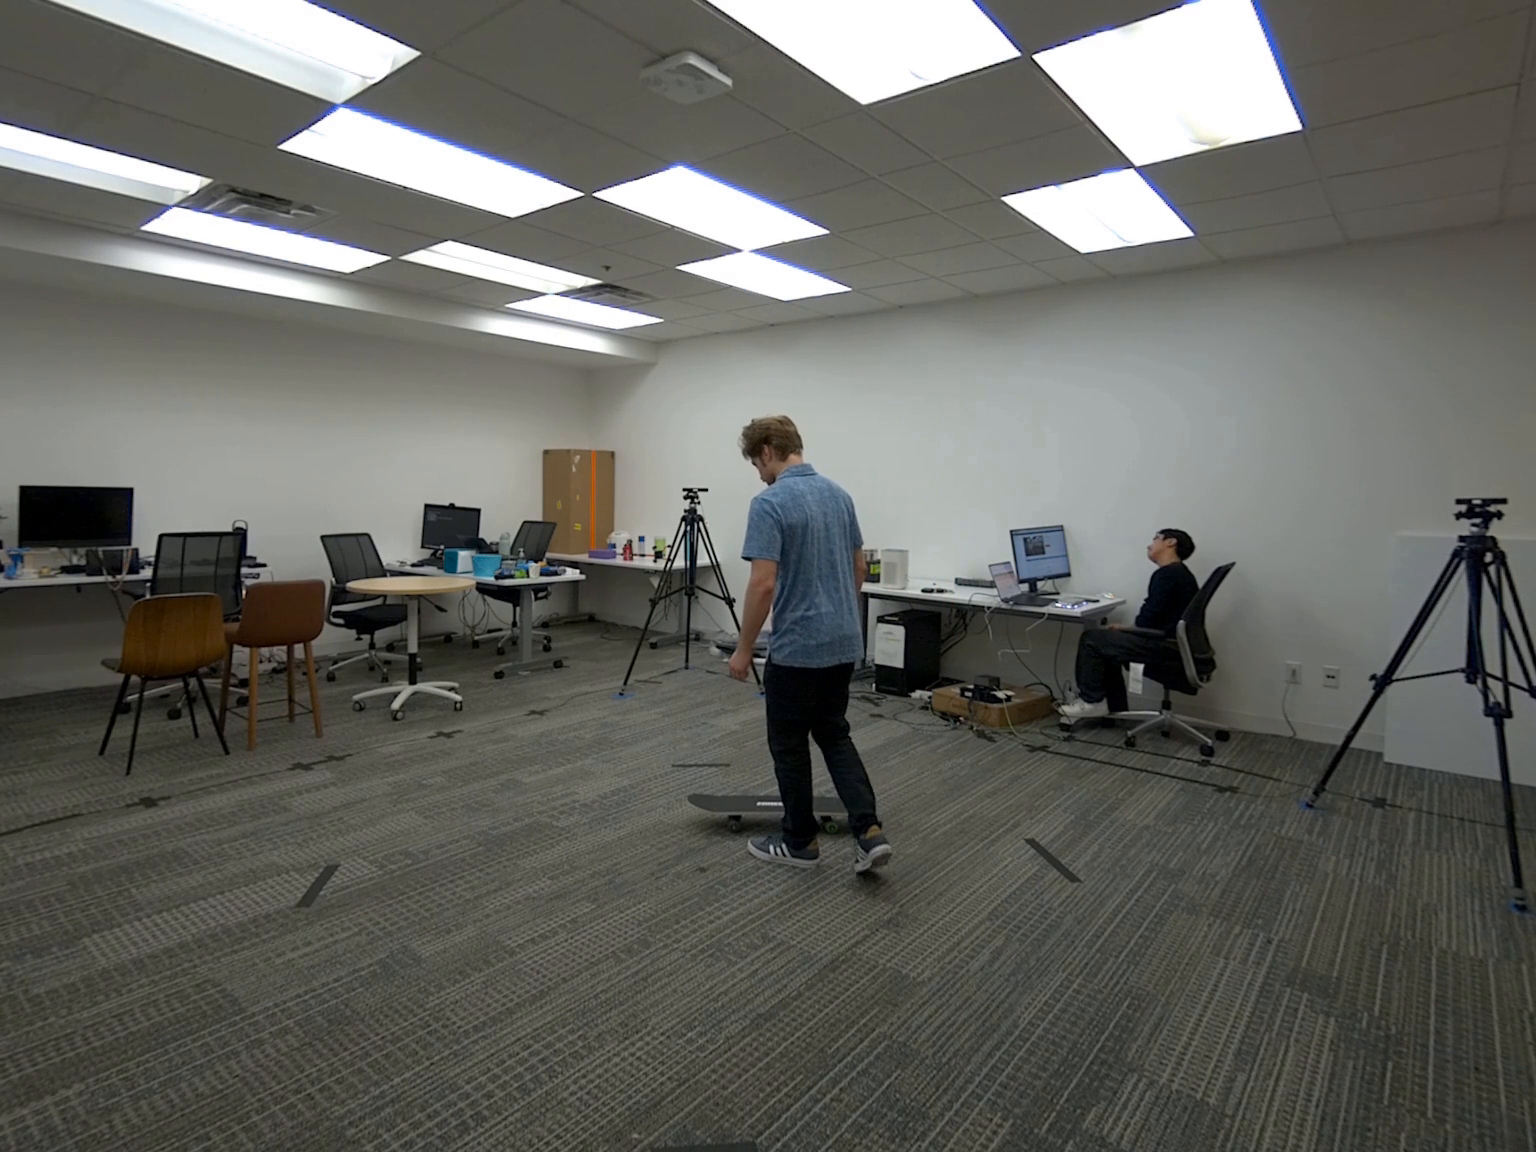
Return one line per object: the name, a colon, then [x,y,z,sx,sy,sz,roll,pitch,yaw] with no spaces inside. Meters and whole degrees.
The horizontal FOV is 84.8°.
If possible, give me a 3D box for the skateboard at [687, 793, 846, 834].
skateboard: [0.046,0.978,3.540,0.784,0.110,0.194,1,5,-2]
